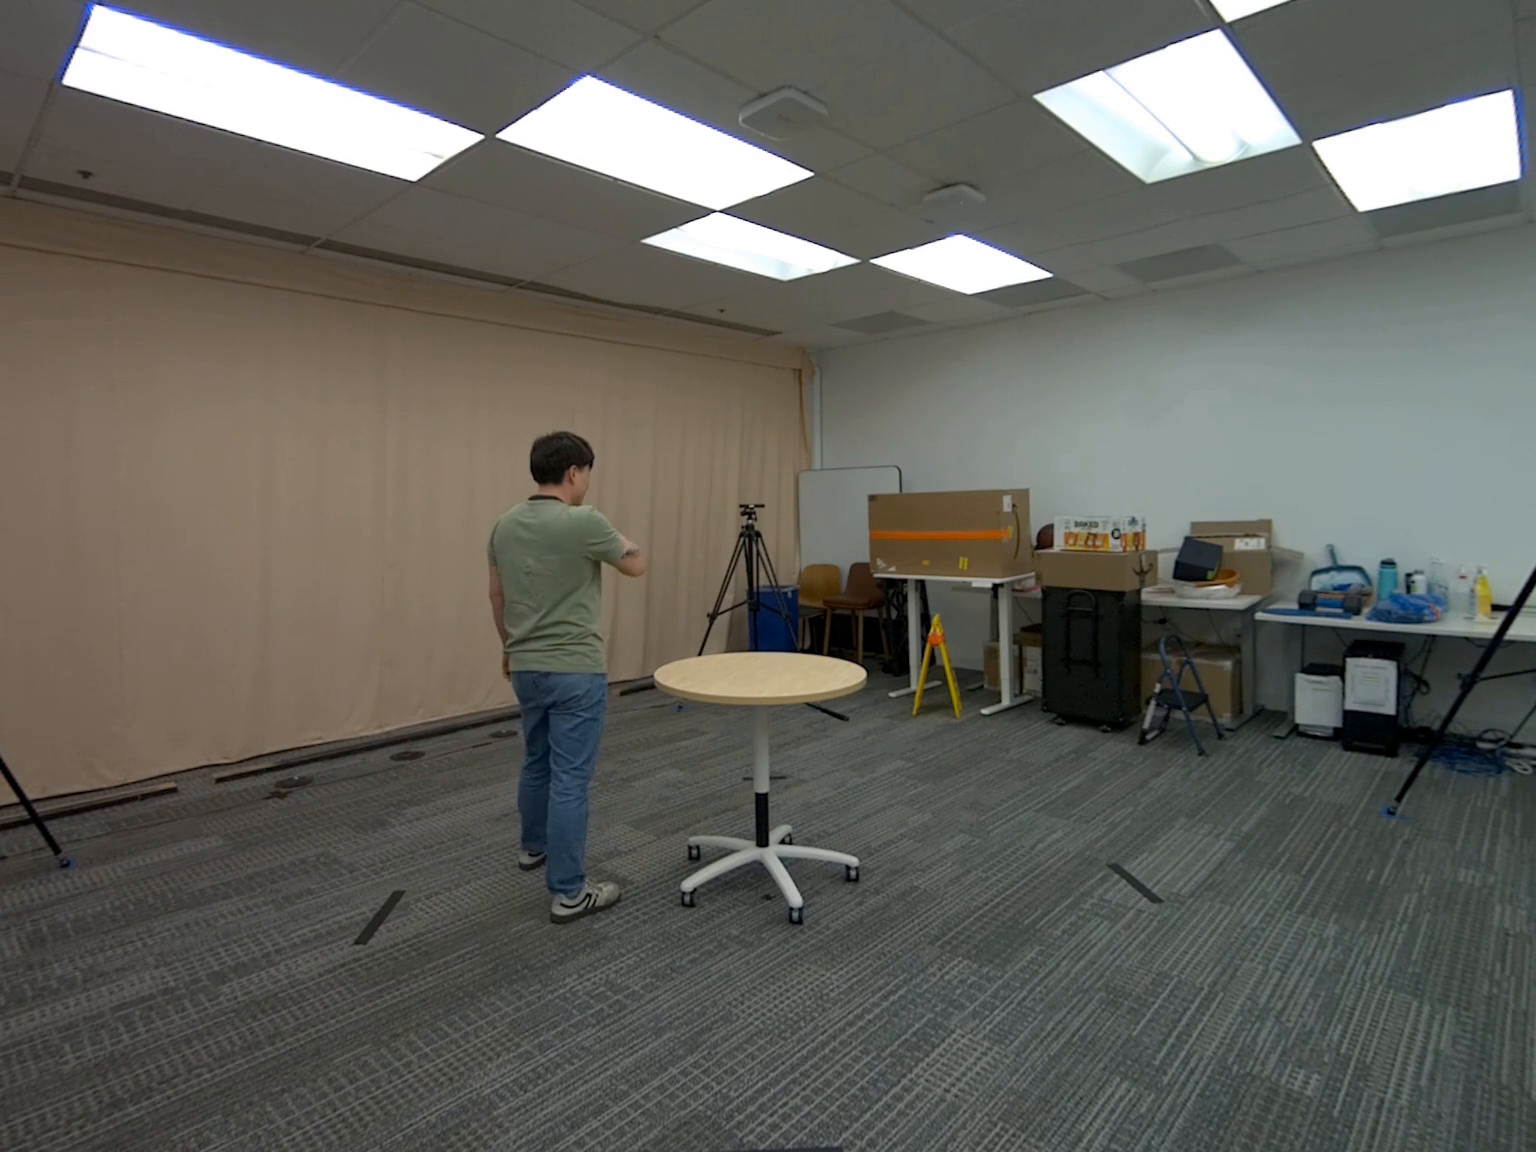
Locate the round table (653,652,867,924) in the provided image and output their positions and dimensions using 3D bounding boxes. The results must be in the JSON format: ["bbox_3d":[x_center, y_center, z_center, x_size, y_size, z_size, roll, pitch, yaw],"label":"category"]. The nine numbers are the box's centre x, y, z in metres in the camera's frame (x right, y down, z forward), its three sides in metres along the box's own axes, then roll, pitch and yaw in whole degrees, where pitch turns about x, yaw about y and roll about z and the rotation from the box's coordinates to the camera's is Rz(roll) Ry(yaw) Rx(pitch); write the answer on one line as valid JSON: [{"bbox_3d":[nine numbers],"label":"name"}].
[{"bbox_3d":[-0.016,0.742,3.075,0.763,0.792,0.767,-1,4,-2],"label":"round table"}]
